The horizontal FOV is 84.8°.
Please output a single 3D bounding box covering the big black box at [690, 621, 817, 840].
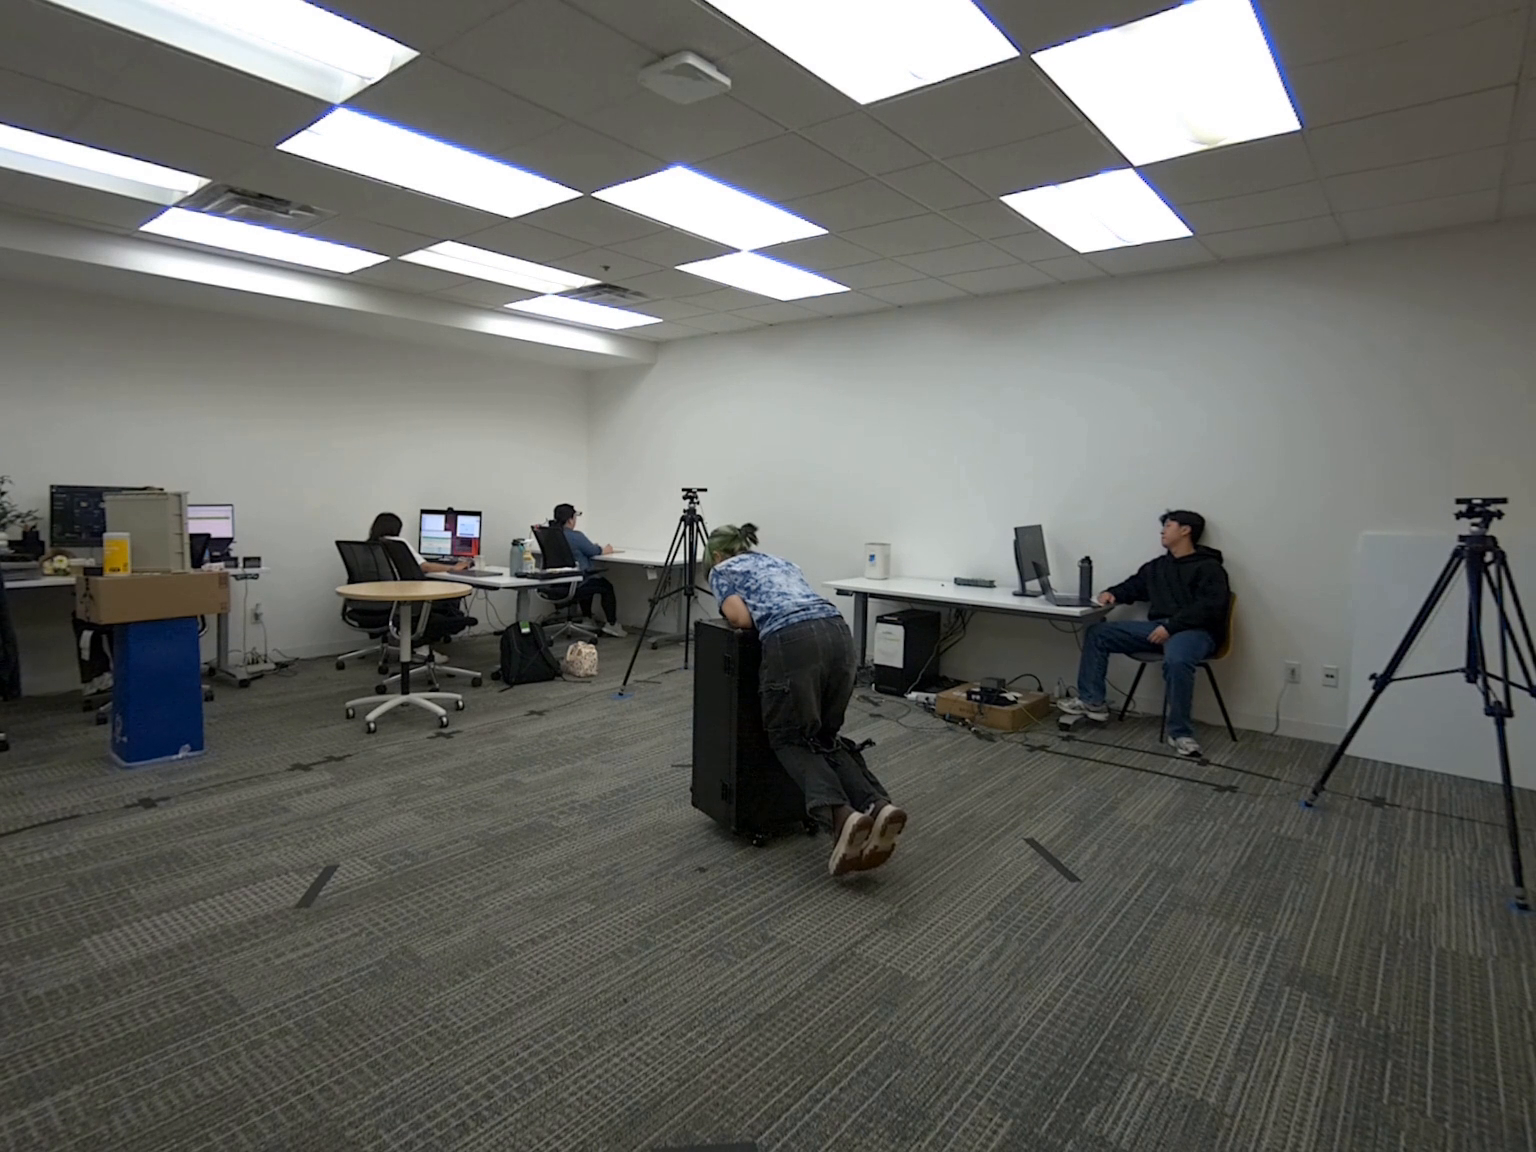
[{"bbox_3d":[-0.032,0.559,3.516,0.507,0.859,0.408,-1,3,-32],"label":"big black box"}]
